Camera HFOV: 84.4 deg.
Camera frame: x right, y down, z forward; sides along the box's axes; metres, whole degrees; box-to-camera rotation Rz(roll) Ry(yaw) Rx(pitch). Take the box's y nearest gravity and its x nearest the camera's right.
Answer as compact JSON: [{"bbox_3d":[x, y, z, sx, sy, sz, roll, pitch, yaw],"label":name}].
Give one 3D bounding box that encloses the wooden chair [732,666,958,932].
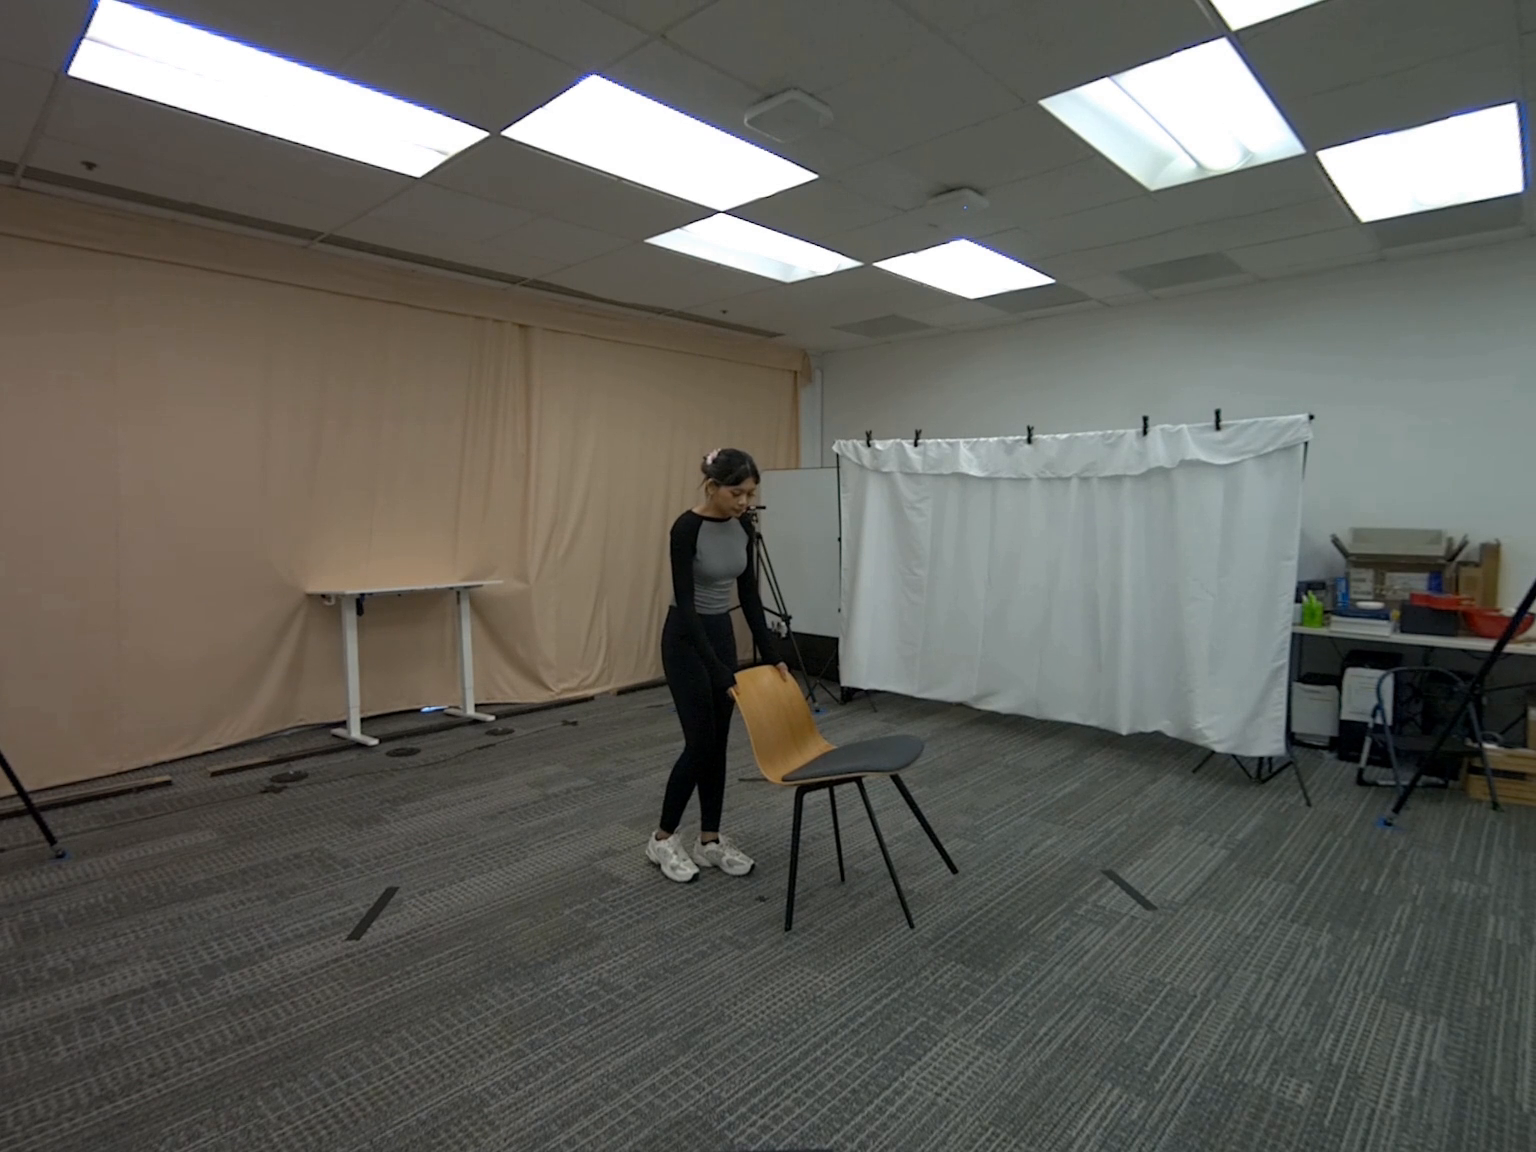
[{"bbox_3d":[0.262,0.681,2.854,0.533,0.884,0.465,-23,-9,30],"label":"wooden chair"}]
